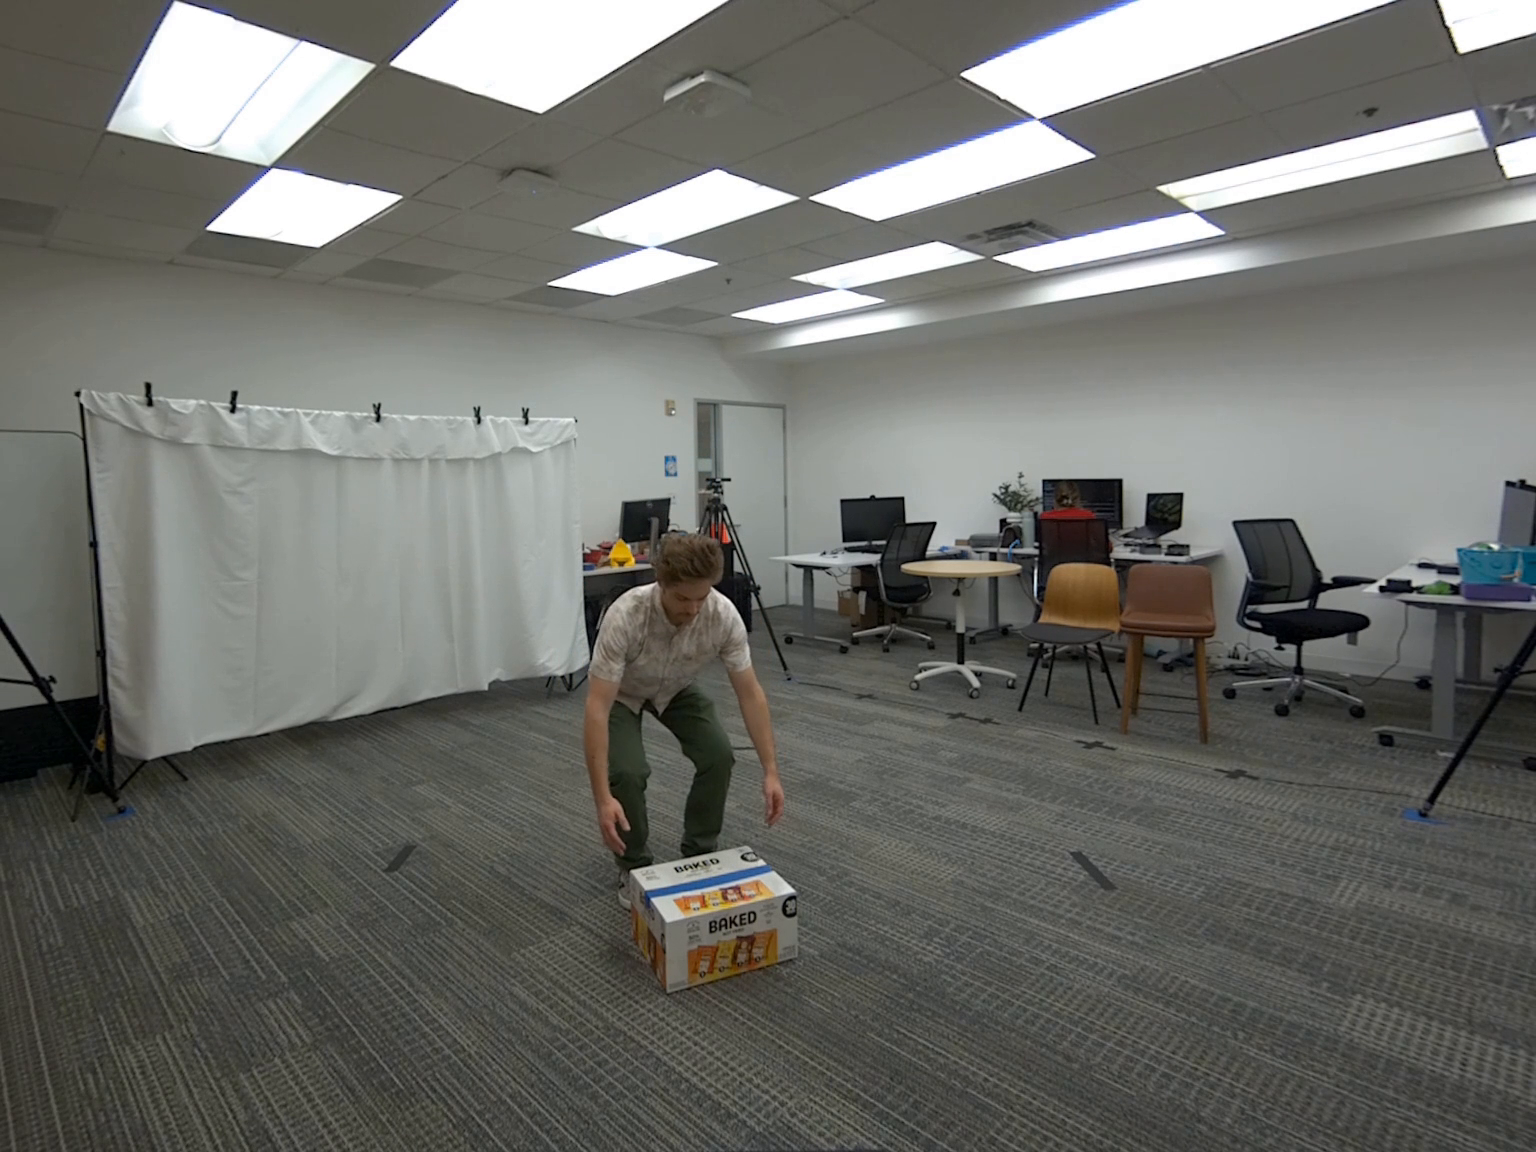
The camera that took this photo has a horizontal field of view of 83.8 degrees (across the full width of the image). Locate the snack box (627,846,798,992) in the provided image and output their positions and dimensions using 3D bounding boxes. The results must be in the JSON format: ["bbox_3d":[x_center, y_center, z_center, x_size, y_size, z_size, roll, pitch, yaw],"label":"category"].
[{"bbox_3d":[-0.163,1.008,2.550,0.397,0.205,0.349,-4,7,-25],"label":"snack box"}]
